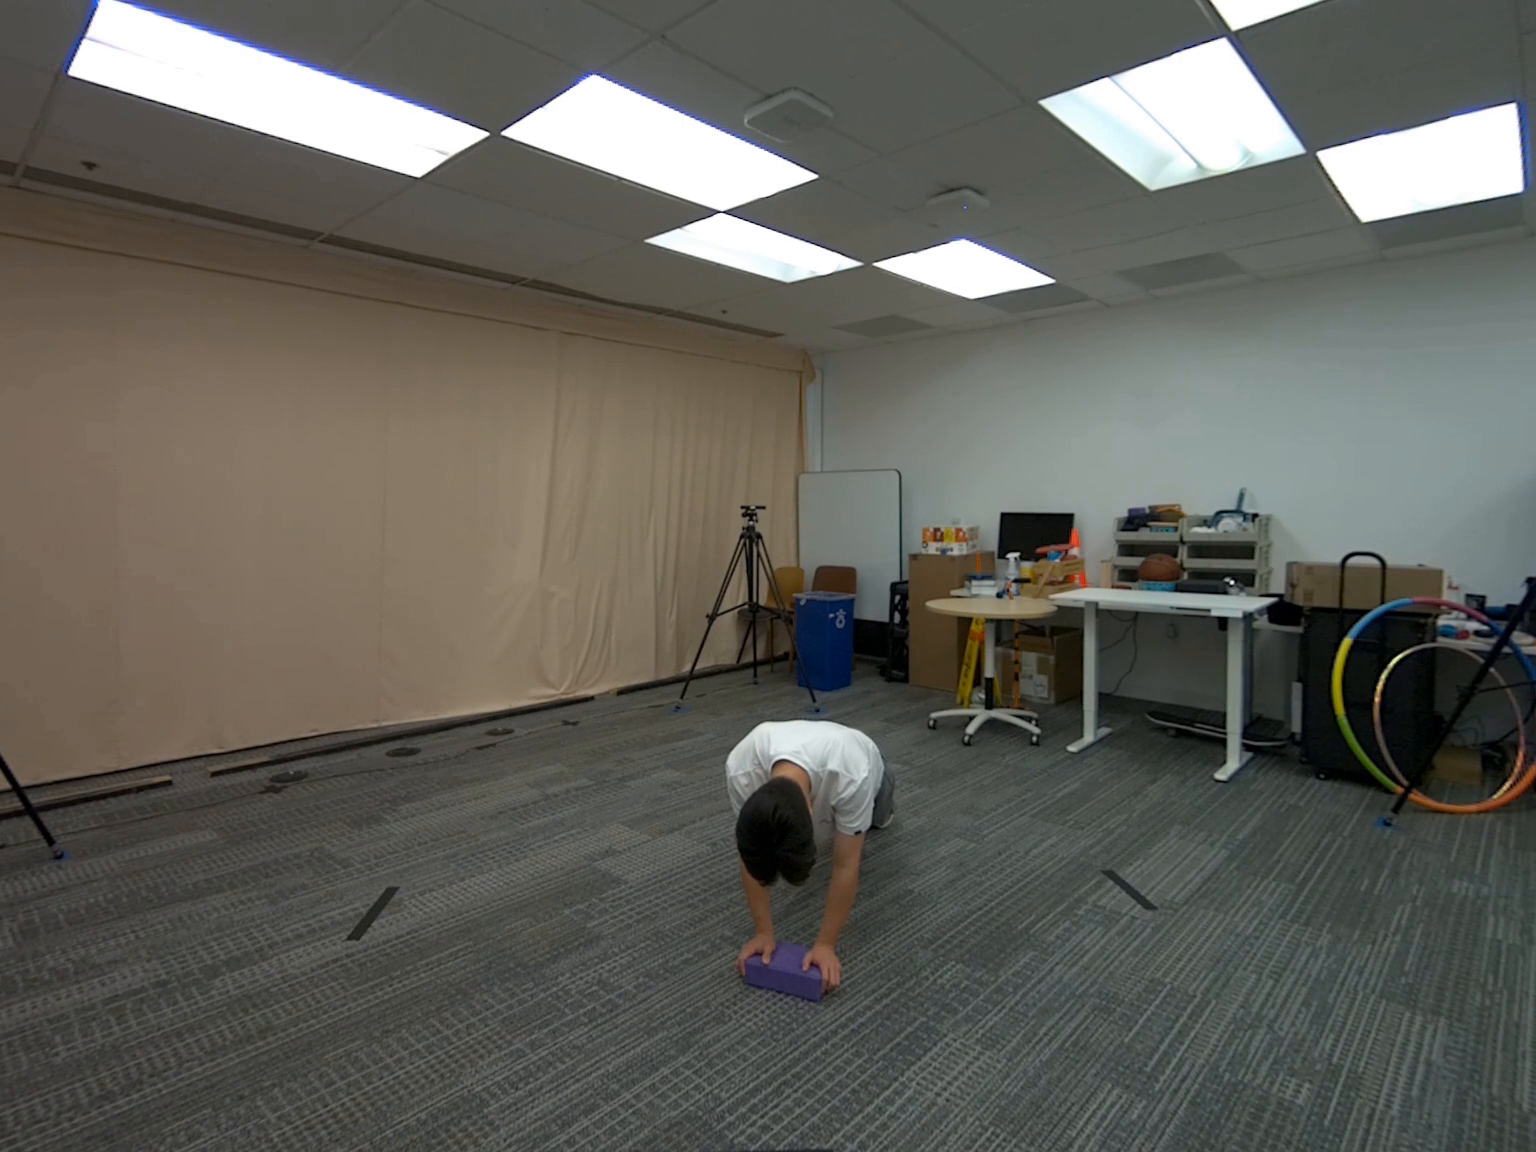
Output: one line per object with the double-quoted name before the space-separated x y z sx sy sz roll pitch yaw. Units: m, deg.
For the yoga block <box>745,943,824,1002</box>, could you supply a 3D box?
"yoga block" 0.072 1.157 2.462 0.235 0.076 0.145 4 6 26
